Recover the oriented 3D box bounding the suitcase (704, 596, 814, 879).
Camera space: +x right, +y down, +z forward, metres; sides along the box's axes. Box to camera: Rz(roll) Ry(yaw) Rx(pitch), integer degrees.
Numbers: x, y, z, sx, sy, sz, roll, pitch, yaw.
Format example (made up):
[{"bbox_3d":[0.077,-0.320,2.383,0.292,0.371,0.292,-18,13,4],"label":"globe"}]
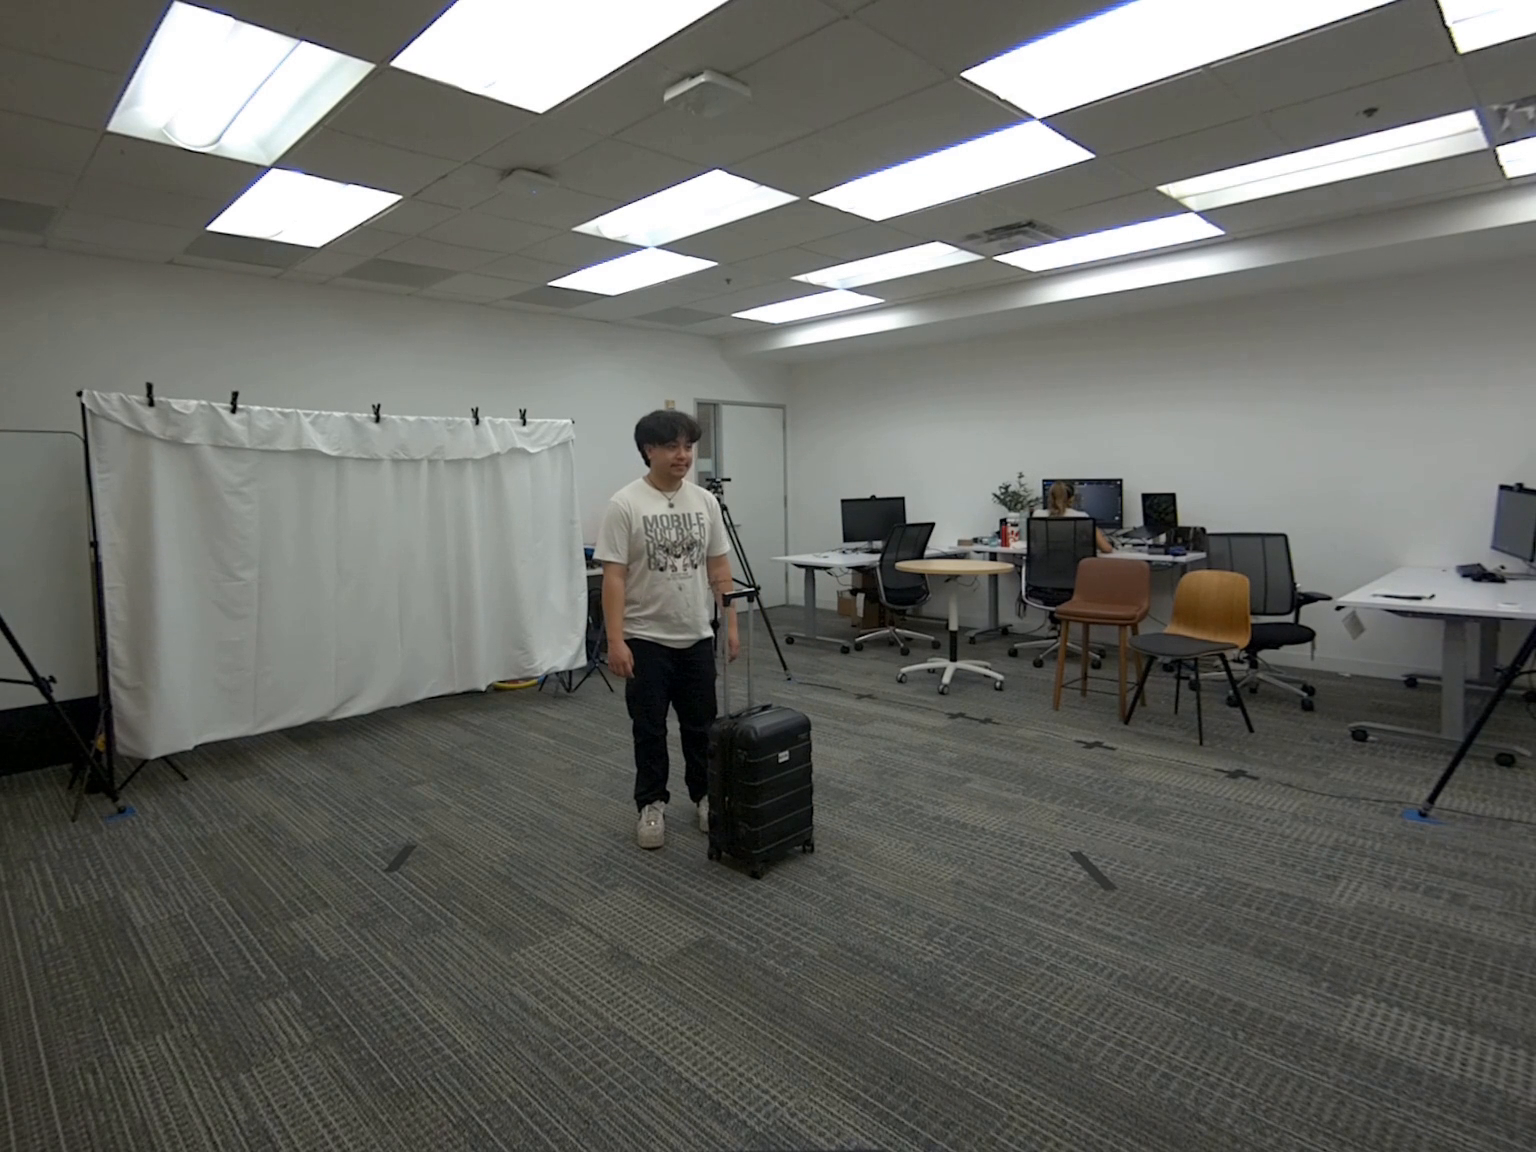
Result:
[{"bbox_3d":[-0.018,0.564,3.110,0.265,0.973,0.374,7,9,43],"label":"suitcase"}]
